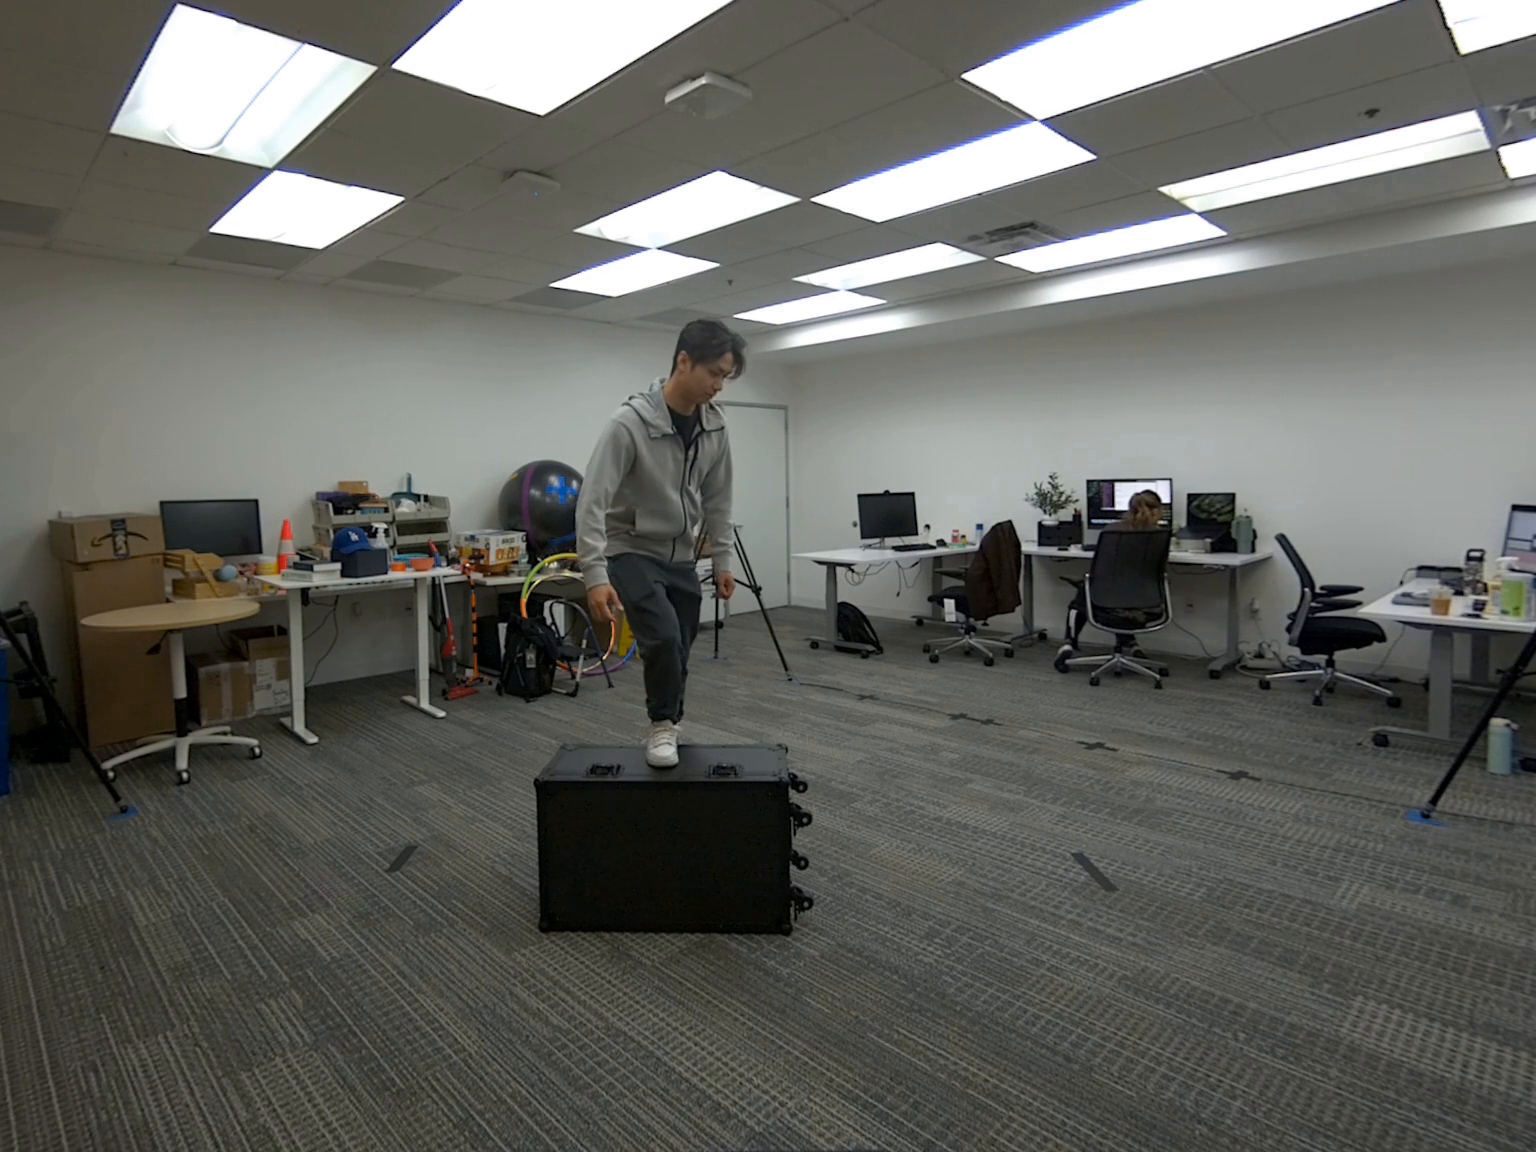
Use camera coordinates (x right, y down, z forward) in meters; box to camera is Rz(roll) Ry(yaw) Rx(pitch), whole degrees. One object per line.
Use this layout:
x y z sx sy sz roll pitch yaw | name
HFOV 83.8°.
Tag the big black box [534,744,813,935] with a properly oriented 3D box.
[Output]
-0.291 0.843 2.806 0.864 0.519 0.396 -1 4 3 | big black box
